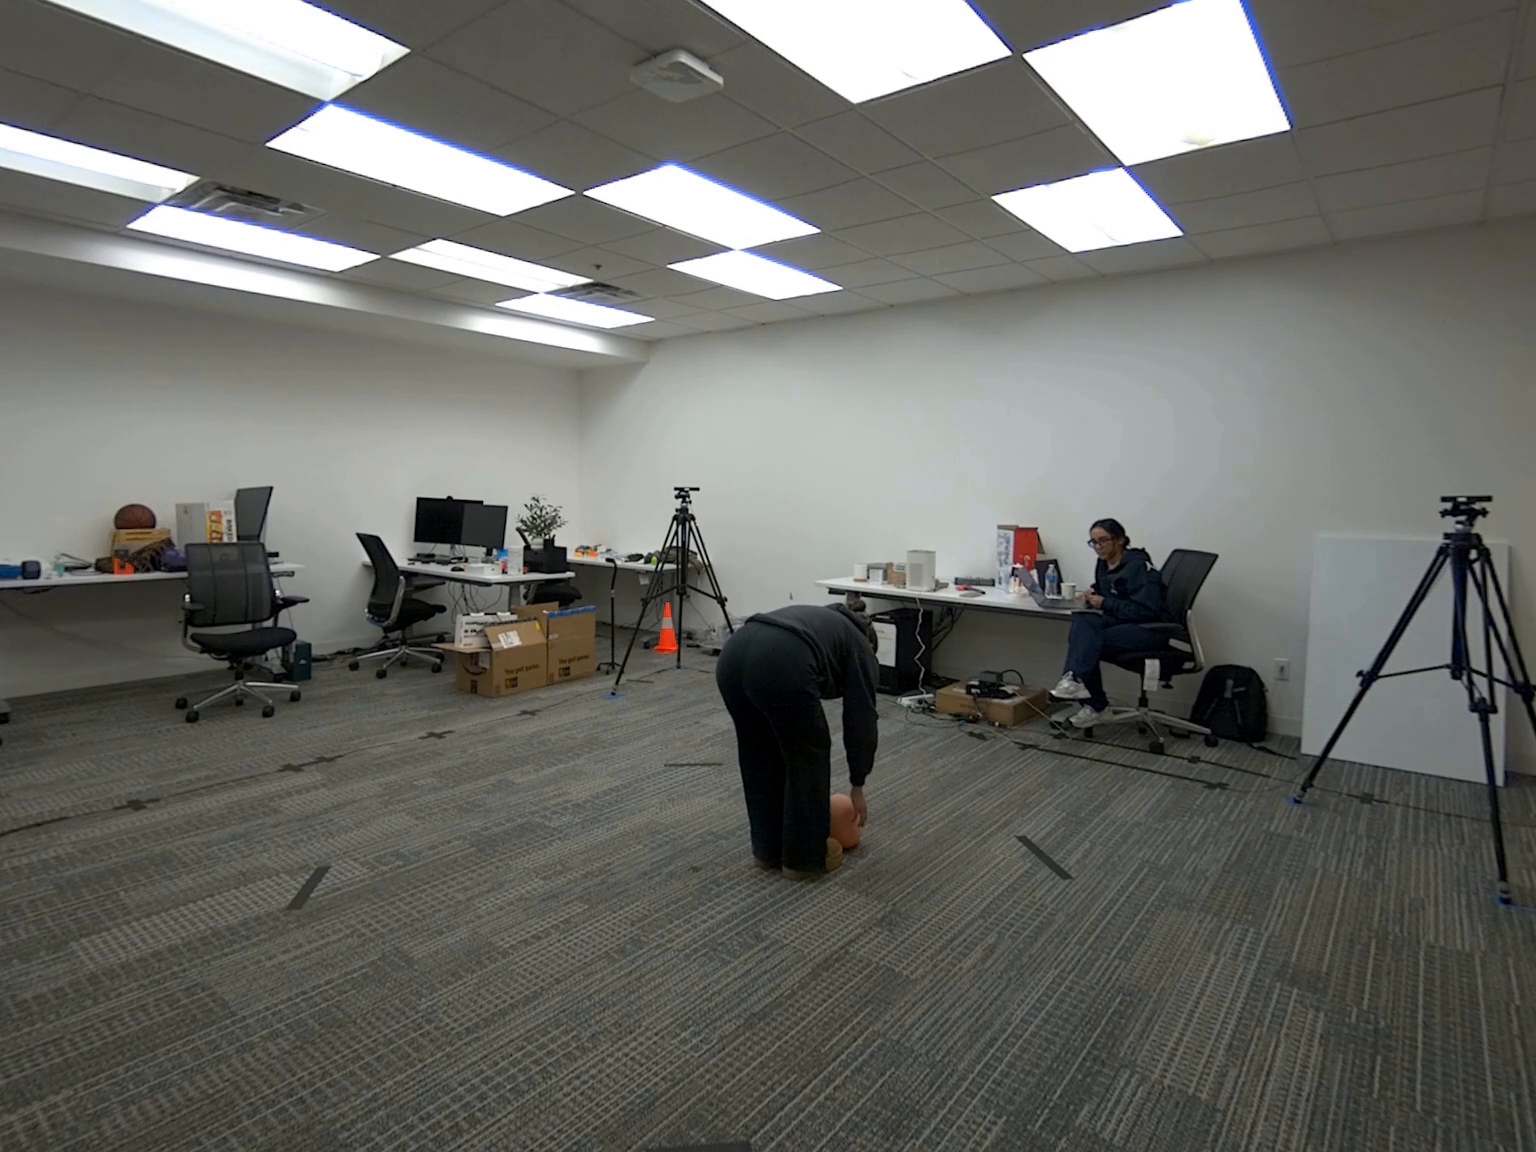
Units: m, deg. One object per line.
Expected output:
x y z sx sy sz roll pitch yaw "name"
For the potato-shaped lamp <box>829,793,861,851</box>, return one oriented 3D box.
0.282 0.946 3.342 0.170 0.197 0.167 5 9 31 "potato-shaped lamp"
